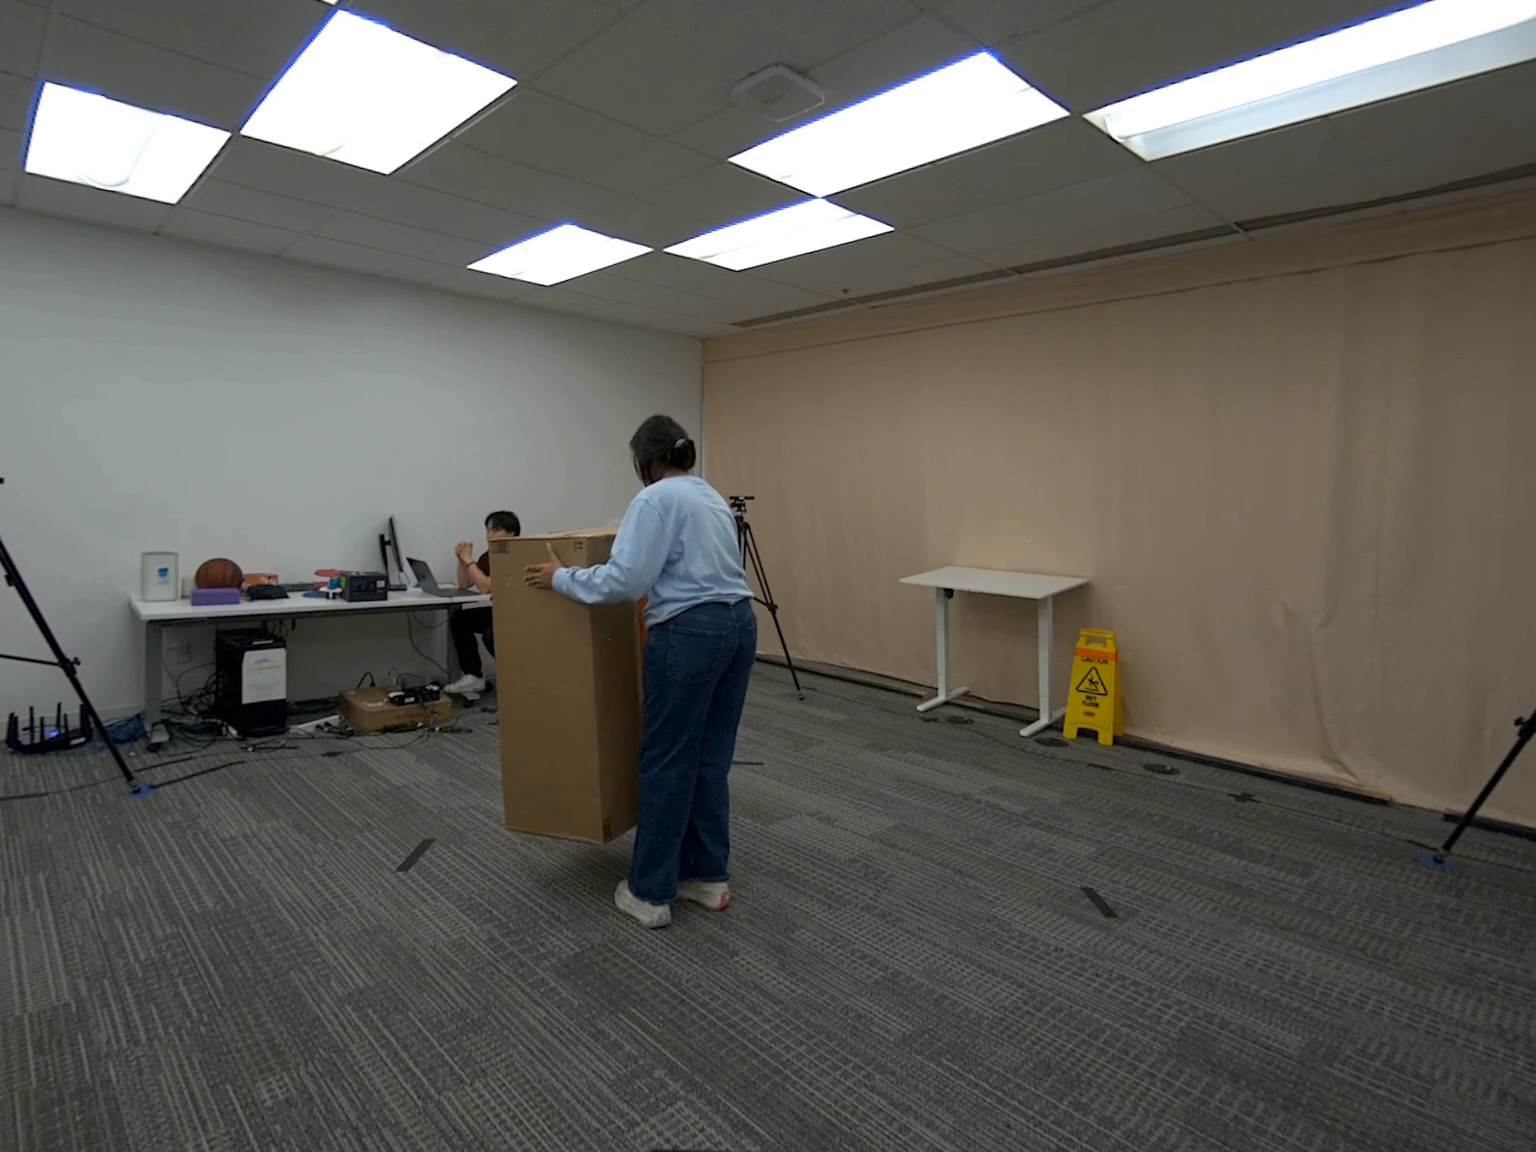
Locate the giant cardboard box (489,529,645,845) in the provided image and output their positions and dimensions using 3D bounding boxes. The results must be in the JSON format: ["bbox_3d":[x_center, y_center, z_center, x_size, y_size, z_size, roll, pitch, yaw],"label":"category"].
[{"bbox_3d":[-0.642,0.357,3.081,0.455,1.024,0.574,0,4,27],"label":"giant cardboard box"}]
